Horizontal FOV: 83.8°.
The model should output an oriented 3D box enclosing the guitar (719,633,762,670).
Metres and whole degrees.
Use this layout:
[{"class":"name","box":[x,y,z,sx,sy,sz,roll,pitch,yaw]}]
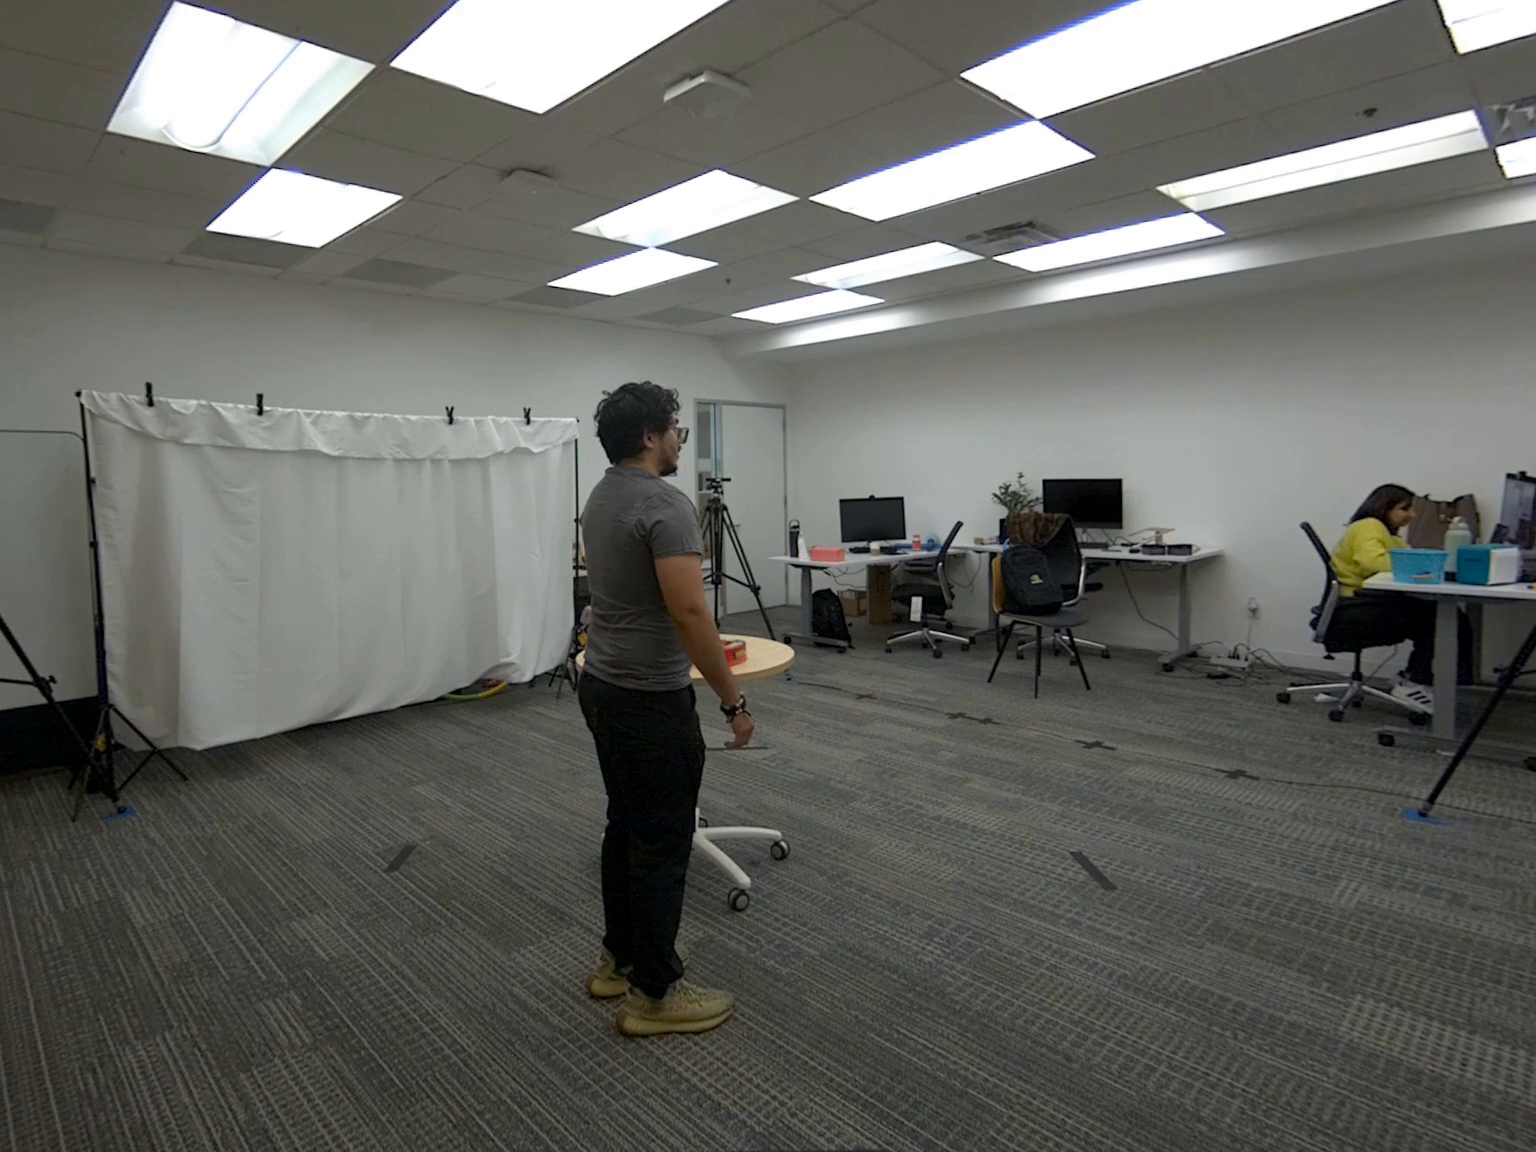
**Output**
[{"class":"guitar","box":[-0.284,0.243,2.961,0.512,0.070,0.188,3,10,36]}]
